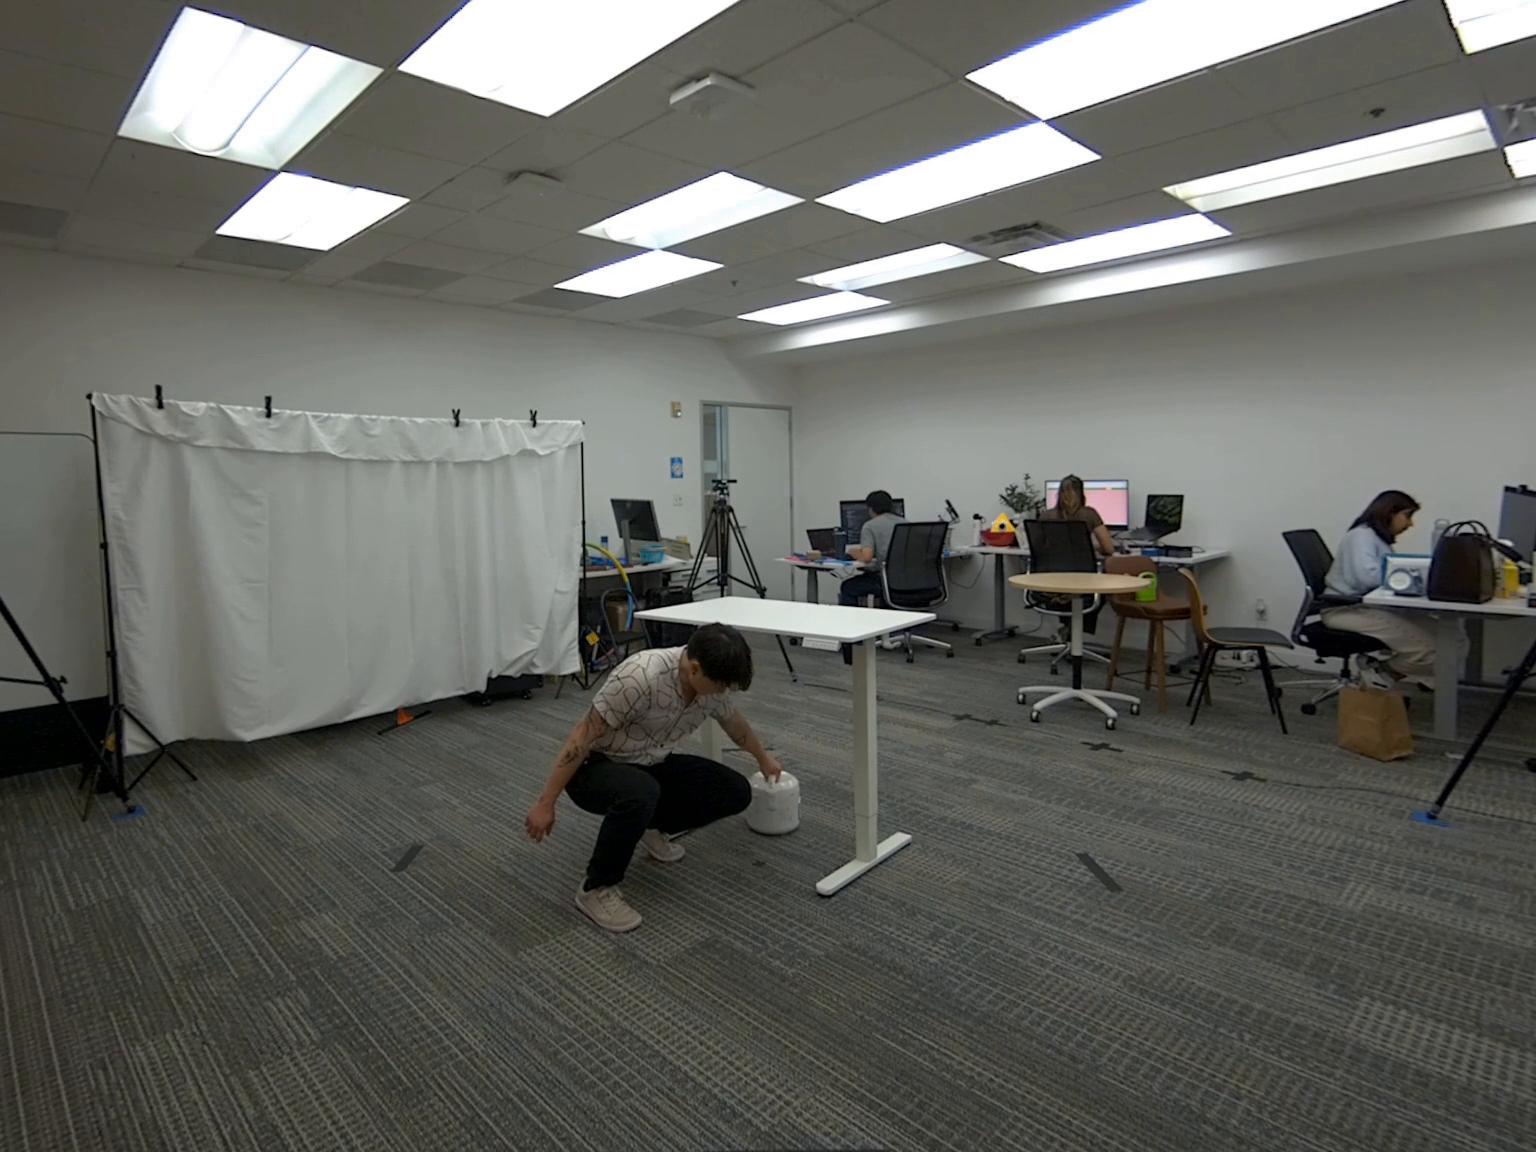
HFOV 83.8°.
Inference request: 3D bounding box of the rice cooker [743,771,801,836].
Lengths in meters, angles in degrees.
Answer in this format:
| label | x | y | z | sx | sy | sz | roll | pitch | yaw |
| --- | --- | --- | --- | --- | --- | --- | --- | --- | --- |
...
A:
| label | x | y | z | sx | sy | sz | roll | pitch | yaw |
| --- | --- | --- | --- | --- | --- | --- | --- | --- | --- |
| rice cooker | 0.024 | 0.892 | 3.426 | 0.219 | 0.232 | 0.220 | -1 | 6 | 6 |
